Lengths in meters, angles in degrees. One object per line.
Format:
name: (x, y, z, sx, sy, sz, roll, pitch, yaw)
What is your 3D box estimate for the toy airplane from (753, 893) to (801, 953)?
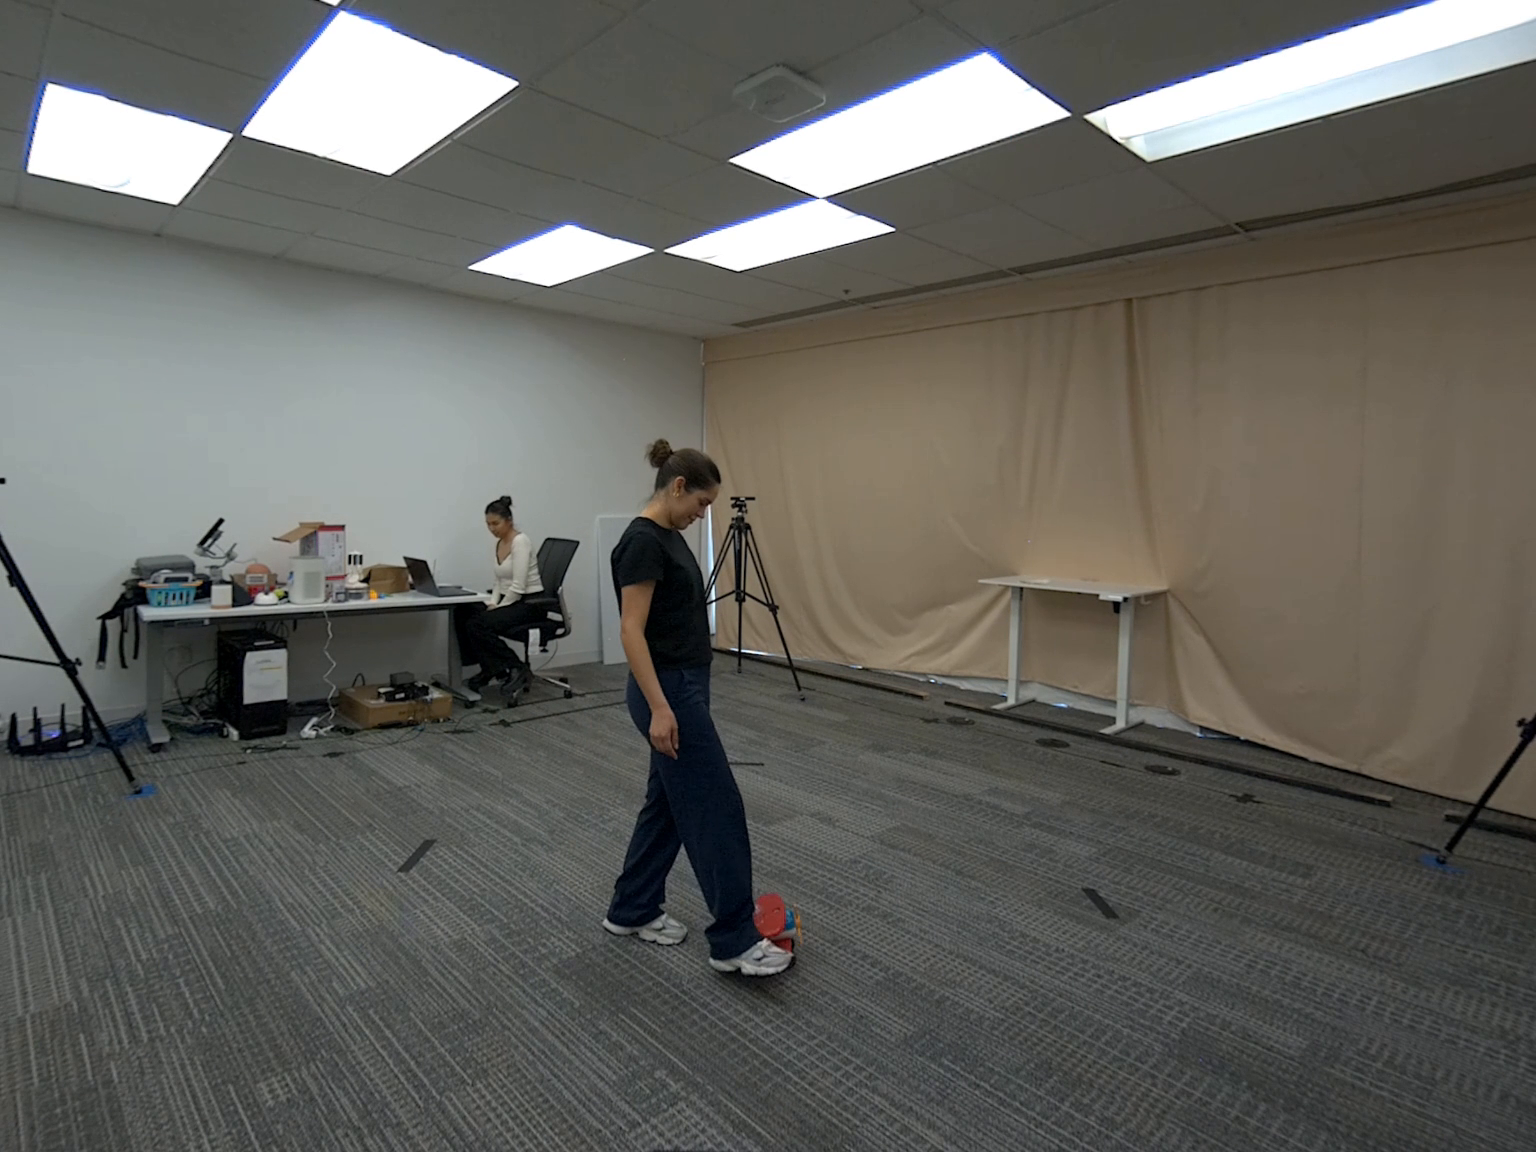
toy airplane: (-0.023, 1.091, 2.509, 0.254, 0.156, 0.256, -1, 4, -28)
